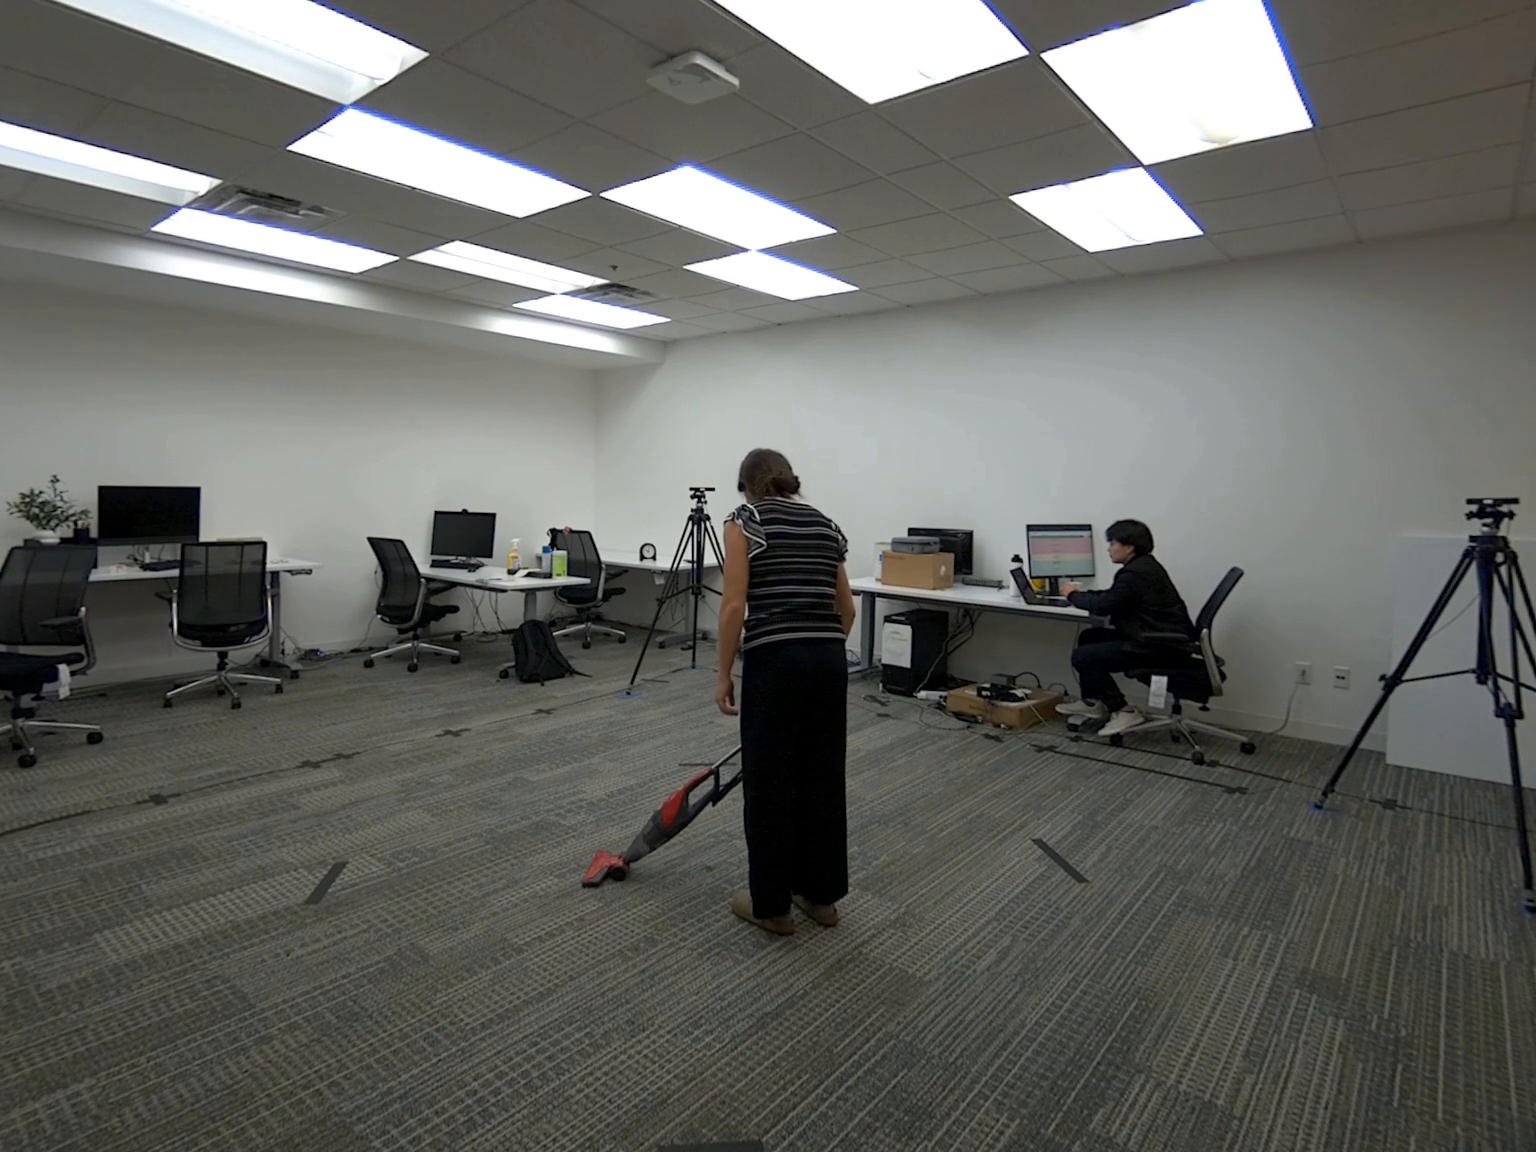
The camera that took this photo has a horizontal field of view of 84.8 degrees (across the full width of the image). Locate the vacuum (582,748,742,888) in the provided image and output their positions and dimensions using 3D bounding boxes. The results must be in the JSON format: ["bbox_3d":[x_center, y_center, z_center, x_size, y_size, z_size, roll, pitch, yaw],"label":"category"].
[{"bbox_3d":[-0.187,0.720,3.016,1.050,0.145,0.251,-39,-1,4],"label":"vacuum"}]
